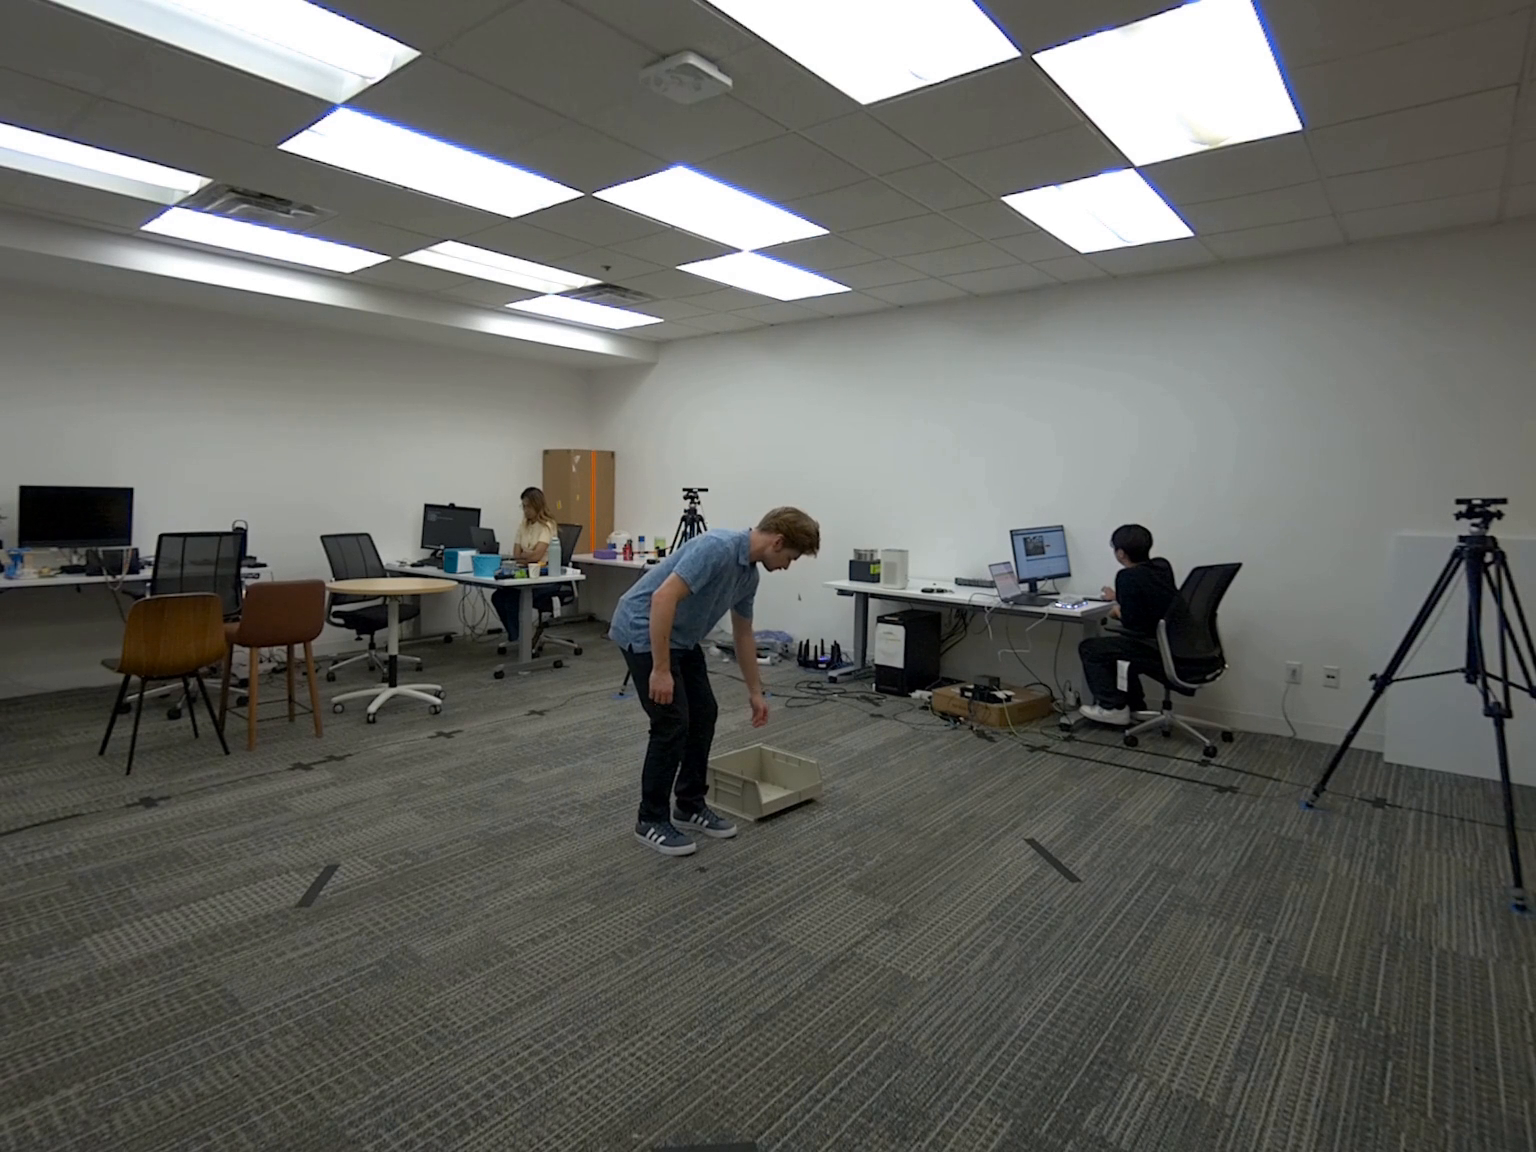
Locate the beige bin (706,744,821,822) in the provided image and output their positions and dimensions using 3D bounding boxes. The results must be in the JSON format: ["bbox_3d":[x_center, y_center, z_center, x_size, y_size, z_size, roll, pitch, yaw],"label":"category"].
[{"bbox_3d":[-0.038,0.918,3.801,0.390,0.188,0.410,4,6,42],"label":"beige bin"}]
